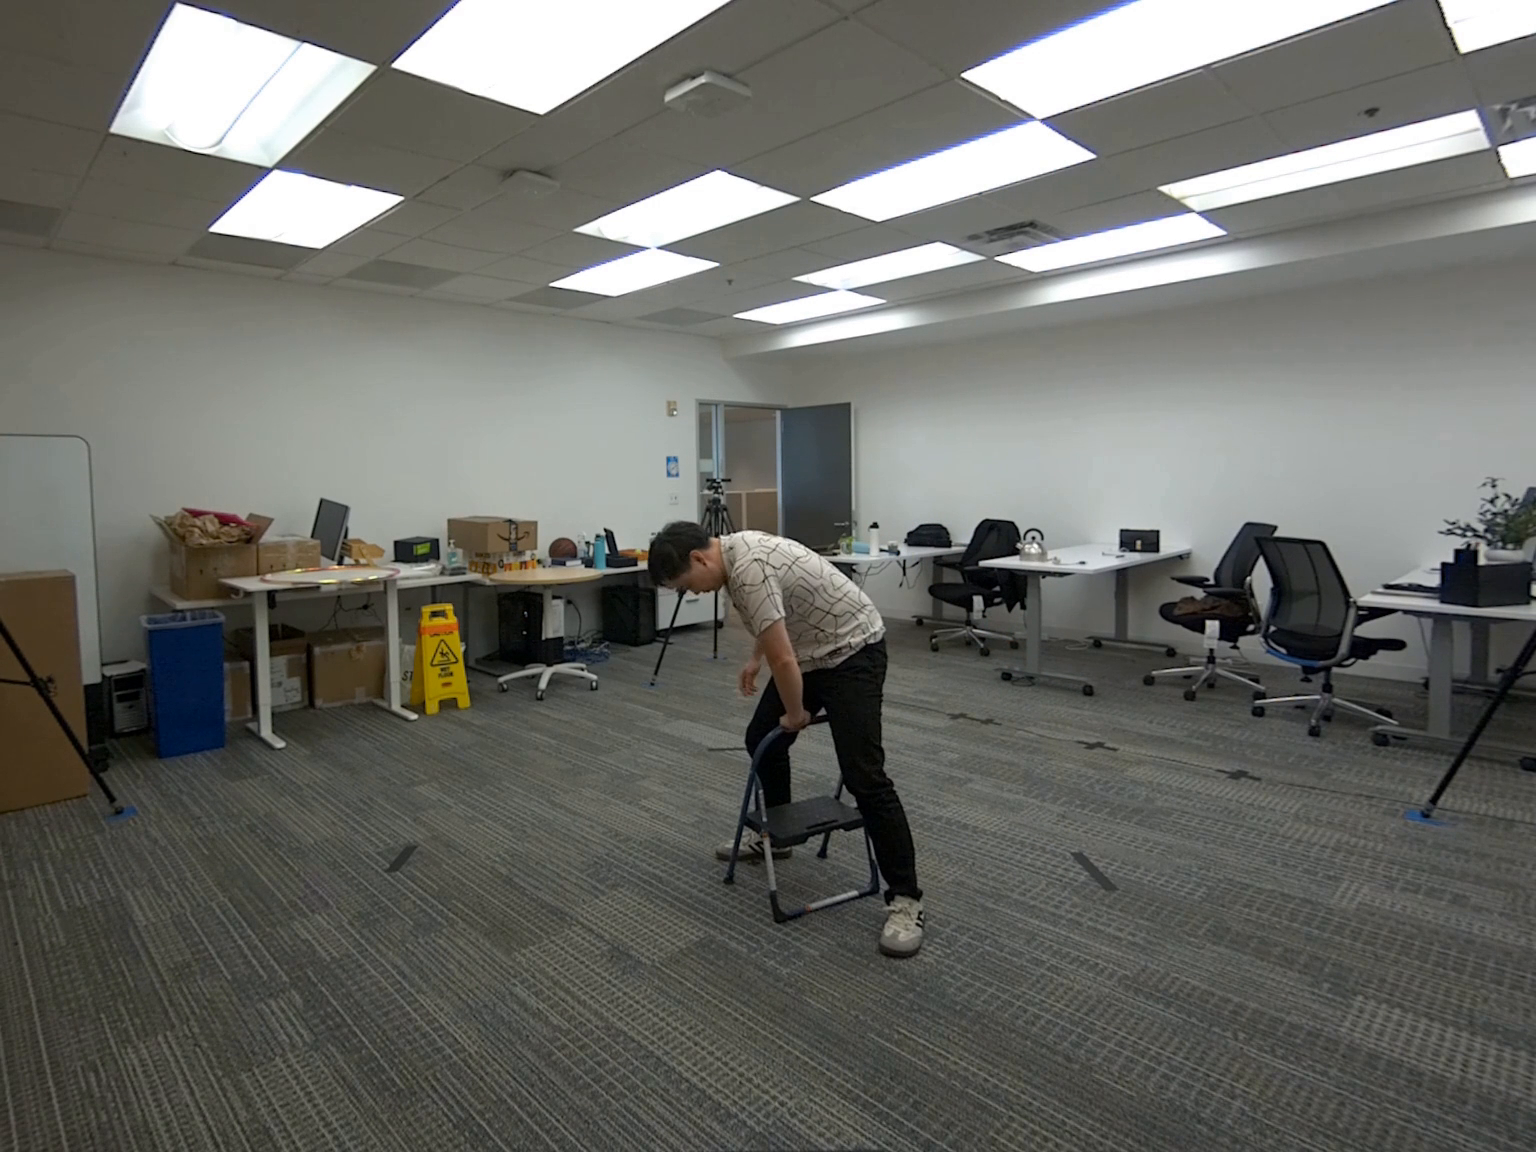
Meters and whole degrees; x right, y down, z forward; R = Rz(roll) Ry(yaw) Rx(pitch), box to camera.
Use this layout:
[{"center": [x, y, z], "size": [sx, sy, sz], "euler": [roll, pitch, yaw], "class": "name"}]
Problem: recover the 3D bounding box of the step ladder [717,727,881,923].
[{"center": [0.111, 0.759, 2.900], "size": [0.420, 0.604, 0.359], "euler": [-3, 4, -30], "class": "step ladder"}]
